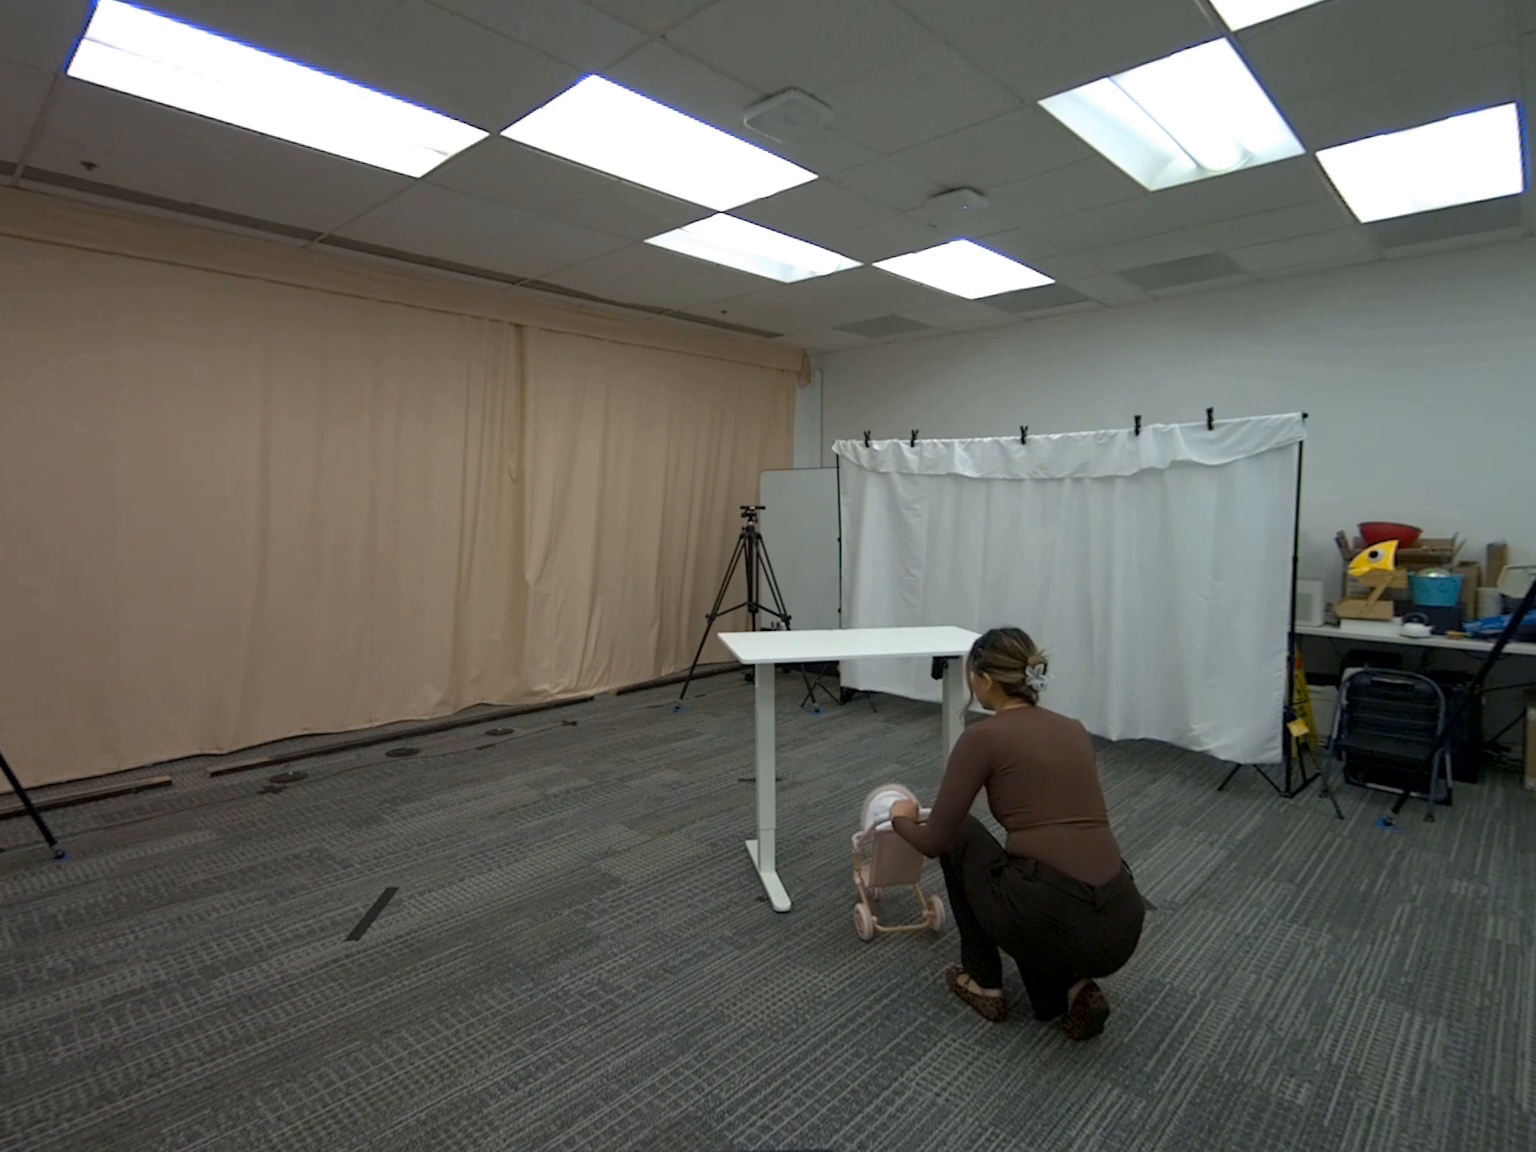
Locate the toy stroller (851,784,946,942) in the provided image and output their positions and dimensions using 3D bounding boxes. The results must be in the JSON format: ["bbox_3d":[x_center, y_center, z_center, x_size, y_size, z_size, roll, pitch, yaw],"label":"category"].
[{"bbox_3d":[0.412,0.923,2.791,0.280,0.529,0.347,-2,17,-7],"label":"toy stroller"}]
